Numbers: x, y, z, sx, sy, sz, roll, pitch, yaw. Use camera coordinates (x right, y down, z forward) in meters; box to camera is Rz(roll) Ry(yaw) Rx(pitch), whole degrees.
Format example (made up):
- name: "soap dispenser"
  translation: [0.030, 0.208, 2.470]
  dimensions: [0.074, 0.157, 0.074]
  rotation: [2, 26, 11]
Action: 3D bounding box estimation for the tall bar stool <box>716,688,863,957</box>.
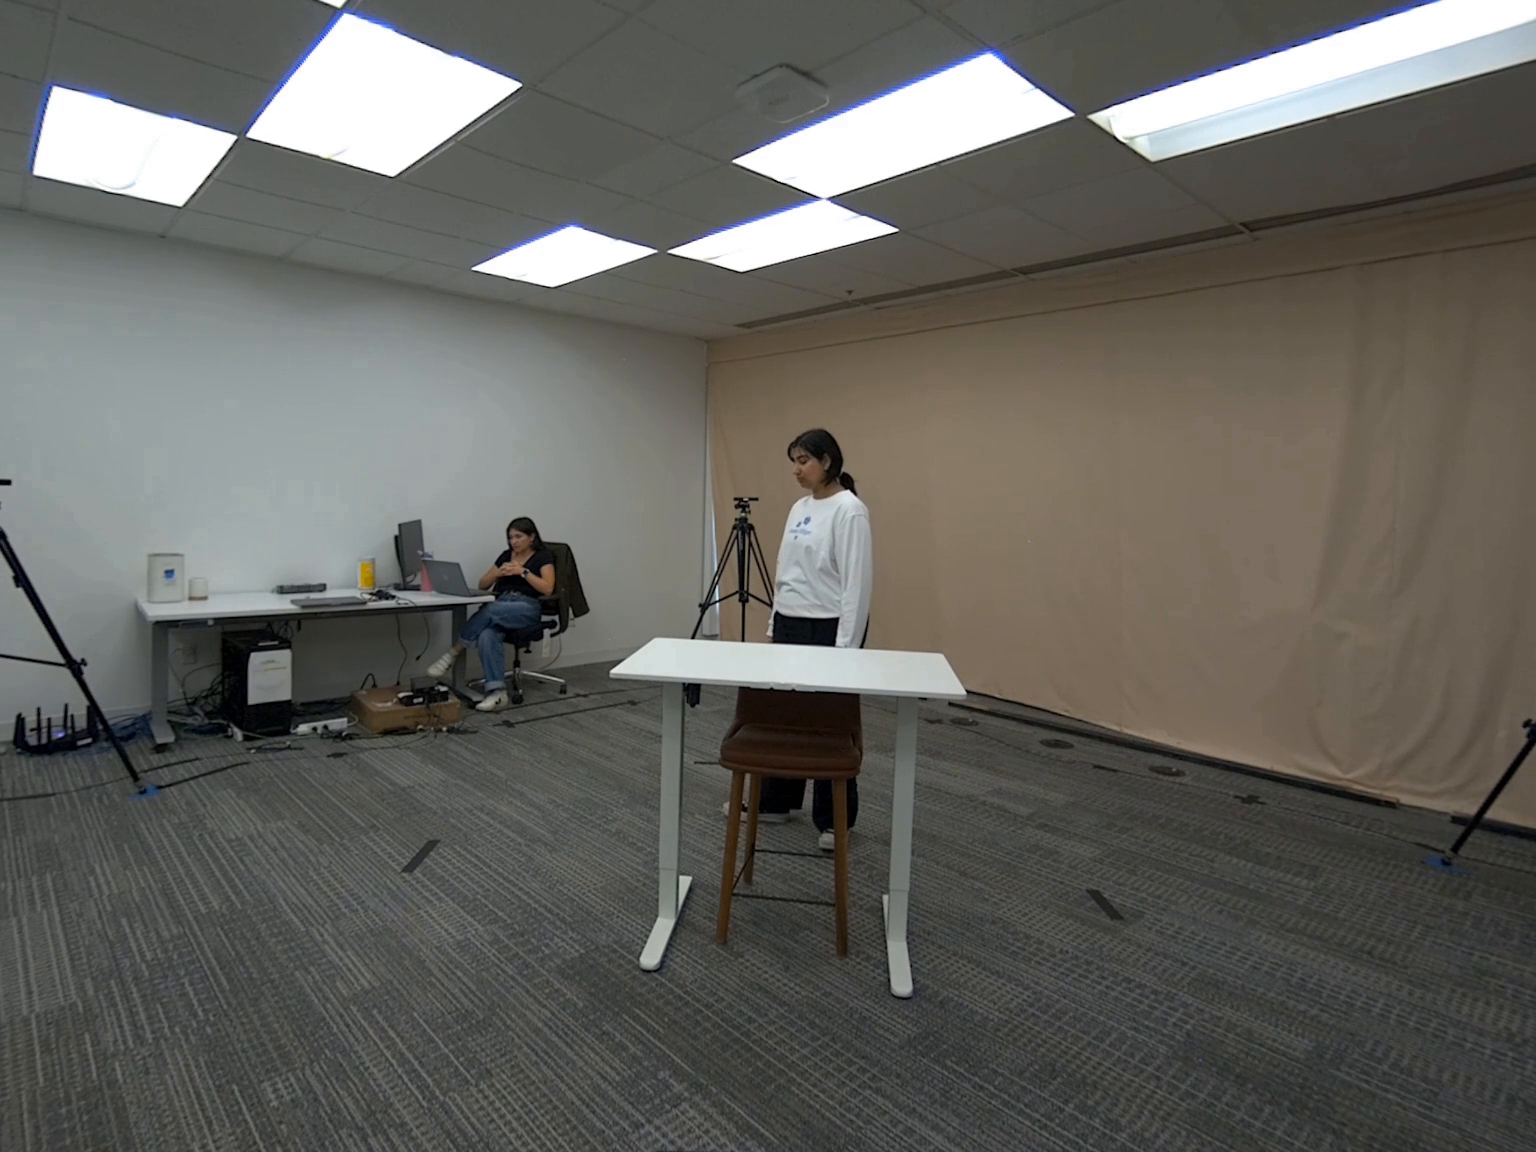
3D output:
- name: "tall bar stool"
  translation: [0.084, 0.710, 2.803]
  dimensions: [0.460, 0.889, 0.464]
  rotation: [2, 1, 10]
